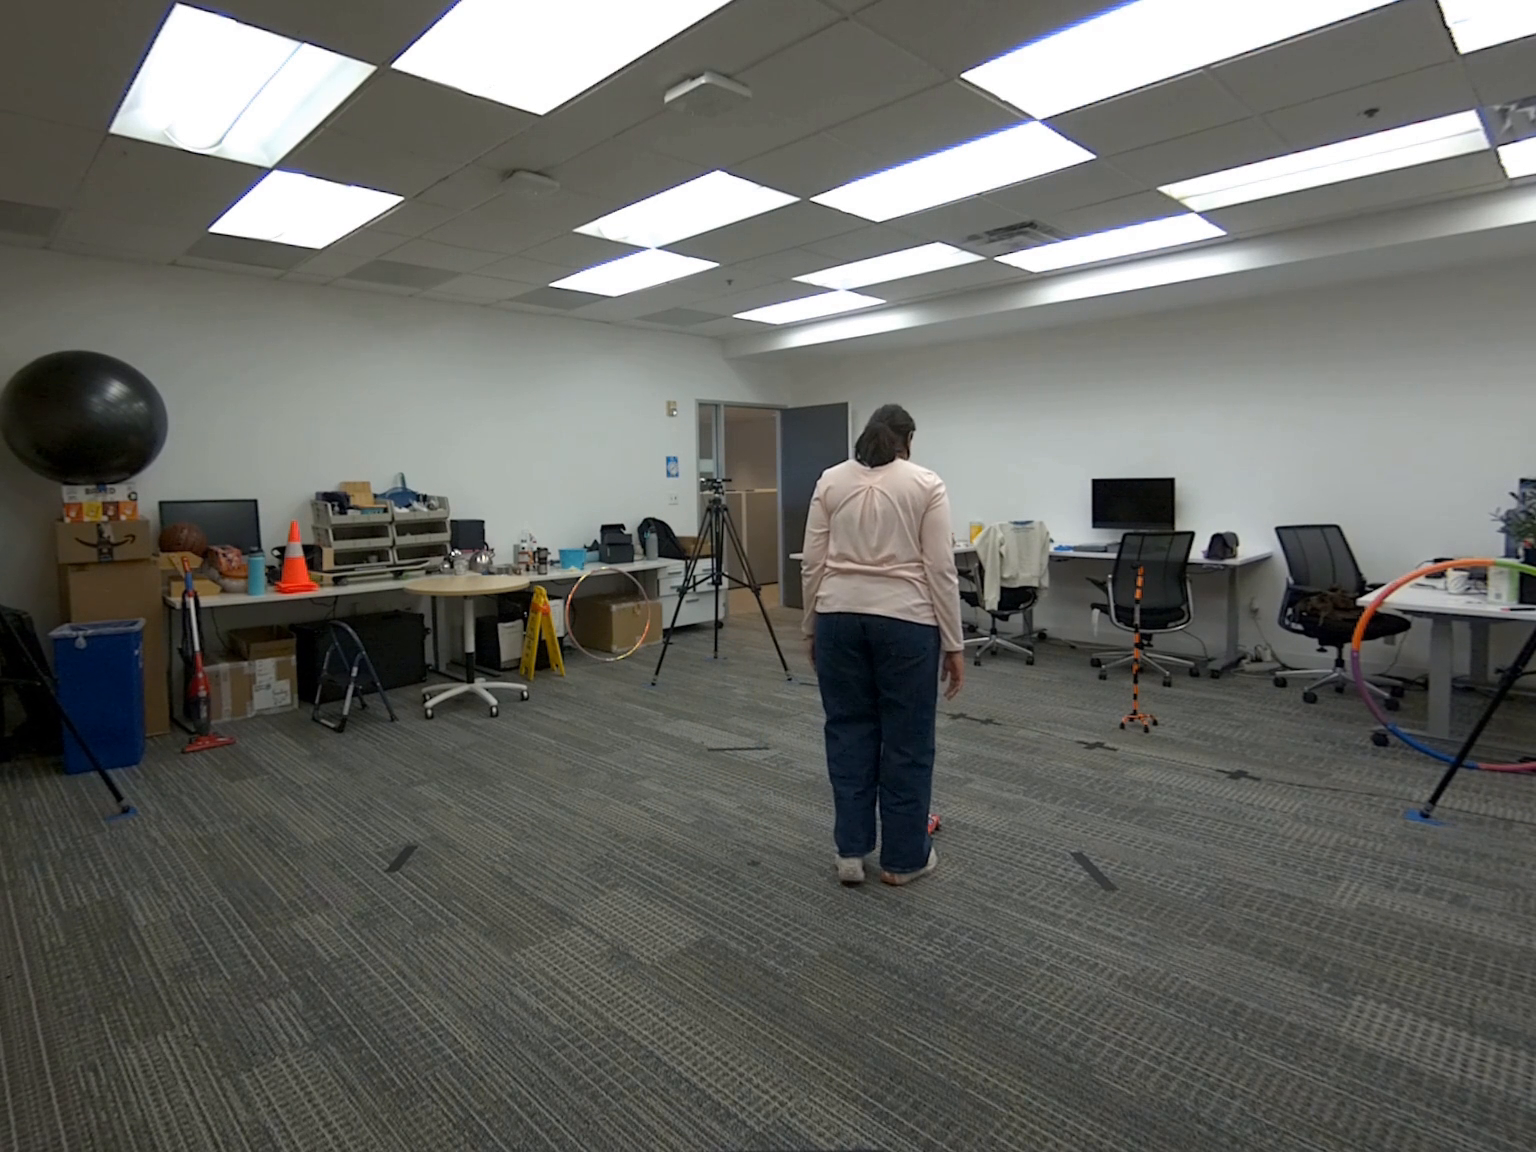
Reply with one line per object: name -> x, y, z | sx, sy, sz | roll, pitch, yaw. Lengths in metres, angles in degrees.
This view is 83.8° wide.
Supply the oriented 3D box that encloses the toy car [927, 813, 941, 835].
toy car -> 0.607, 0.982, 3.315 | 0.133, 0.083, 0.248 | 1, -5, 24
